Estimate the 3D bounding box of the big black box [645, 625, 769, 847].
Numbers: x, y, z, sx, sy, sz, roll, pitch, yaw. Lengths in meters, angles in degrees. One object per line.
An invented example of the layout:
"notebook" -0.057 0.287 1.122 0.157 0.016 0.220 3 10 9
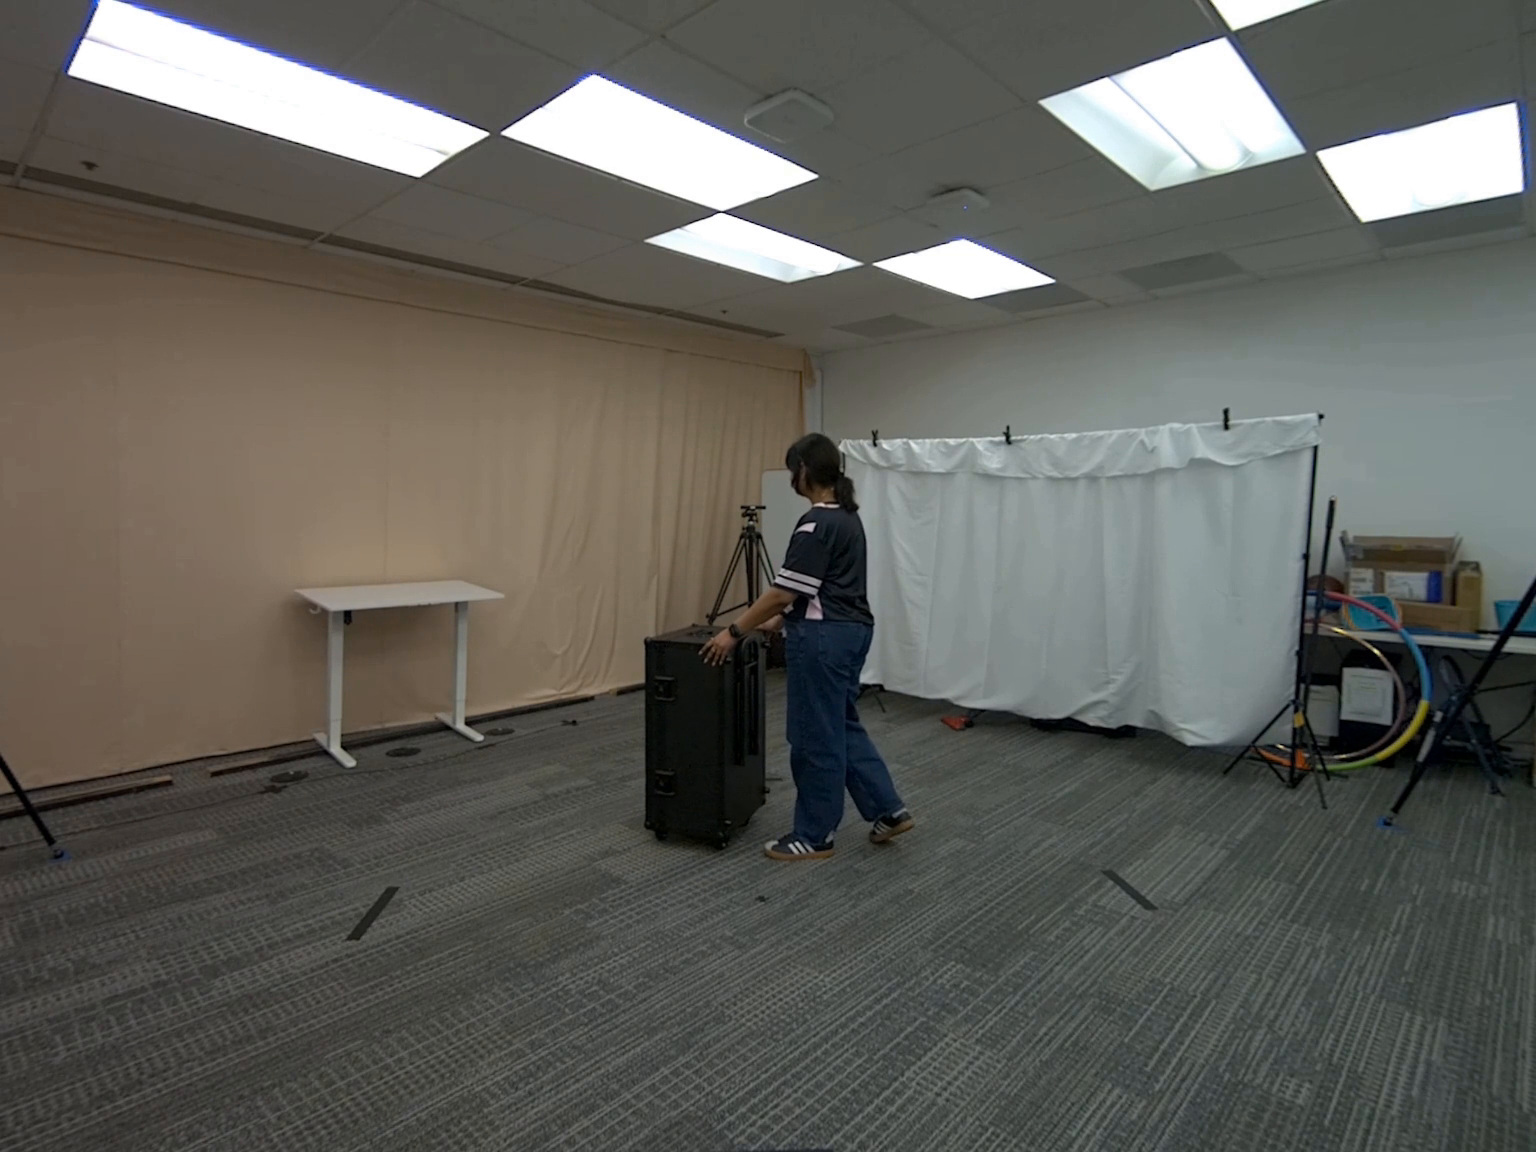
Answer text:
"big black box" -0.249 0.674 3.603 0.394 0.867 0.513 2 4 21
